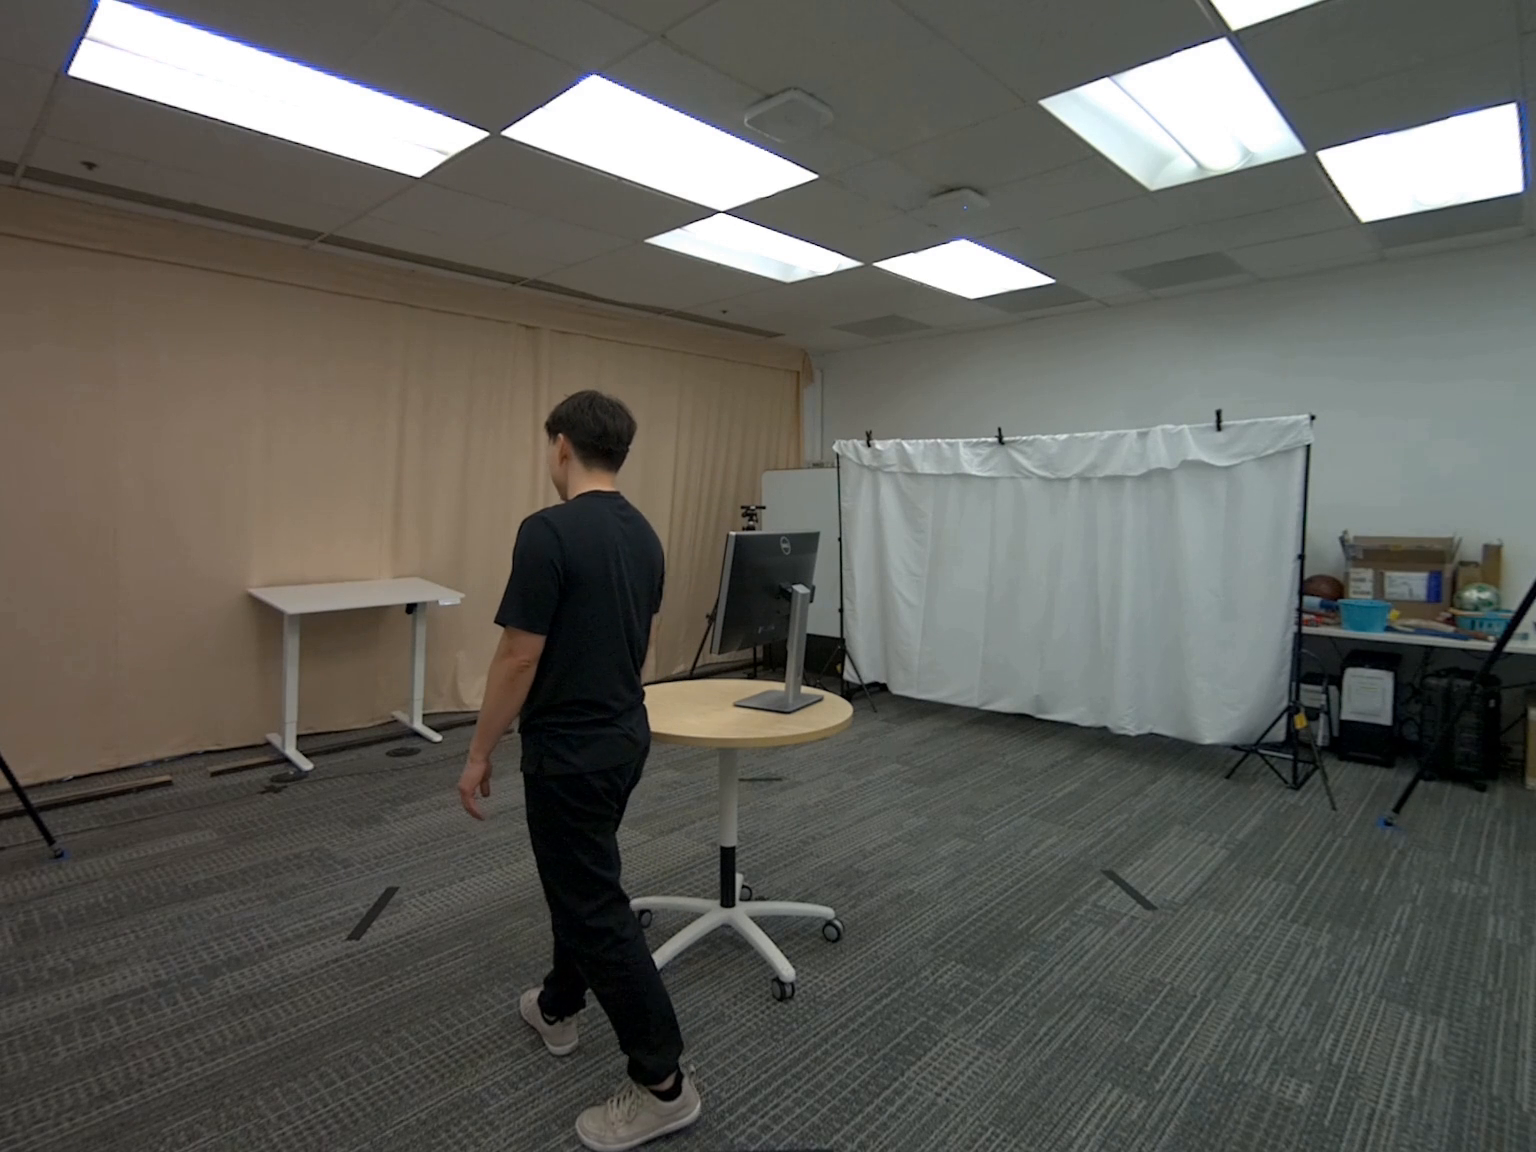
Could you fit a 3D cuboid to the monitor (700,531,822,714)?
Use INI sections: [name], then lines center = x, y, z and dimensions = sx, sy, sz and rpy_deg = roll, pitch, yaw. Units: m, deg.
[monitor]
center = 0.039, 0.137, 2.624
dimensions = 0.192, 0.522, 0.525
rpy_deg = 0, 3, 29
